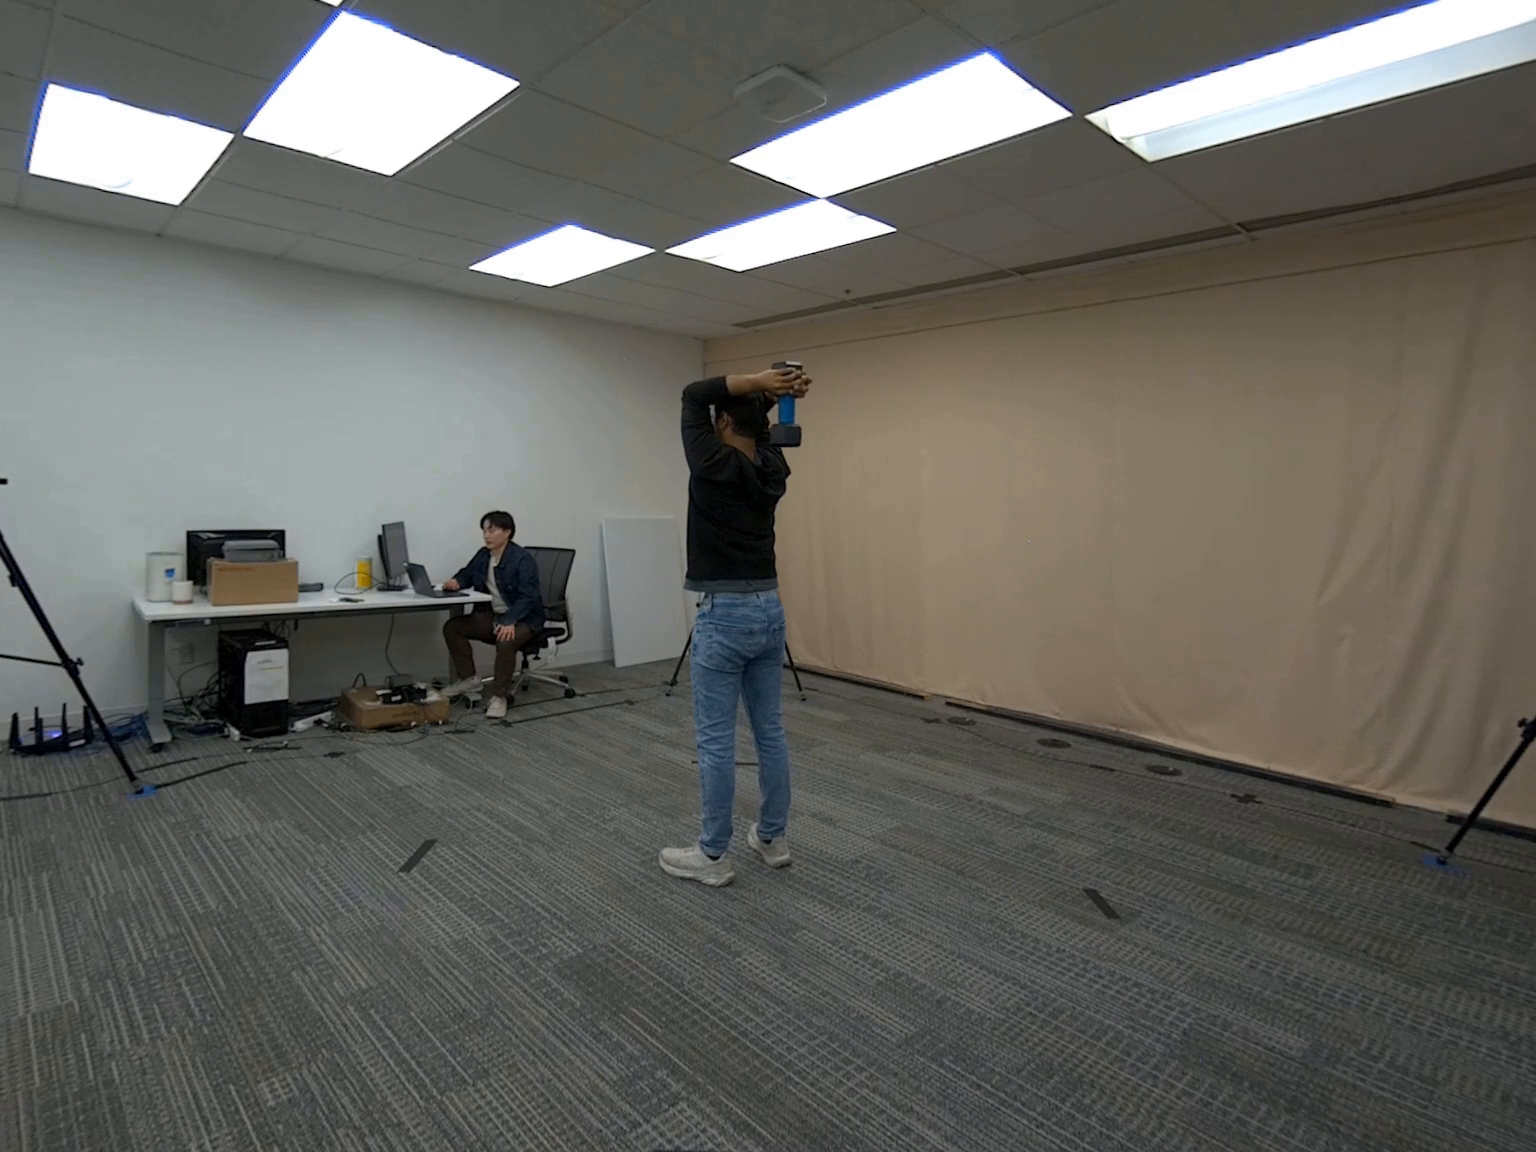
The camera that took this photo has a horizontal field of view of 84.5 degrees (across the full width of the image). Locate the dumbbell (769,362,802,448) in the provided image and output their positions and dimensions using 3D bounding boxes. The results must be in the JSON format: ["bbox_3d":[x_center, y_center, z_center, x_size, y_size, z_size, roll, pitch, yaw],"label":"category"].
[{"bbox_3d":[0.047,-0.604,2.962,0.120,0.292,0.111,-4,5,-31],"label":"dumbbell"}]
